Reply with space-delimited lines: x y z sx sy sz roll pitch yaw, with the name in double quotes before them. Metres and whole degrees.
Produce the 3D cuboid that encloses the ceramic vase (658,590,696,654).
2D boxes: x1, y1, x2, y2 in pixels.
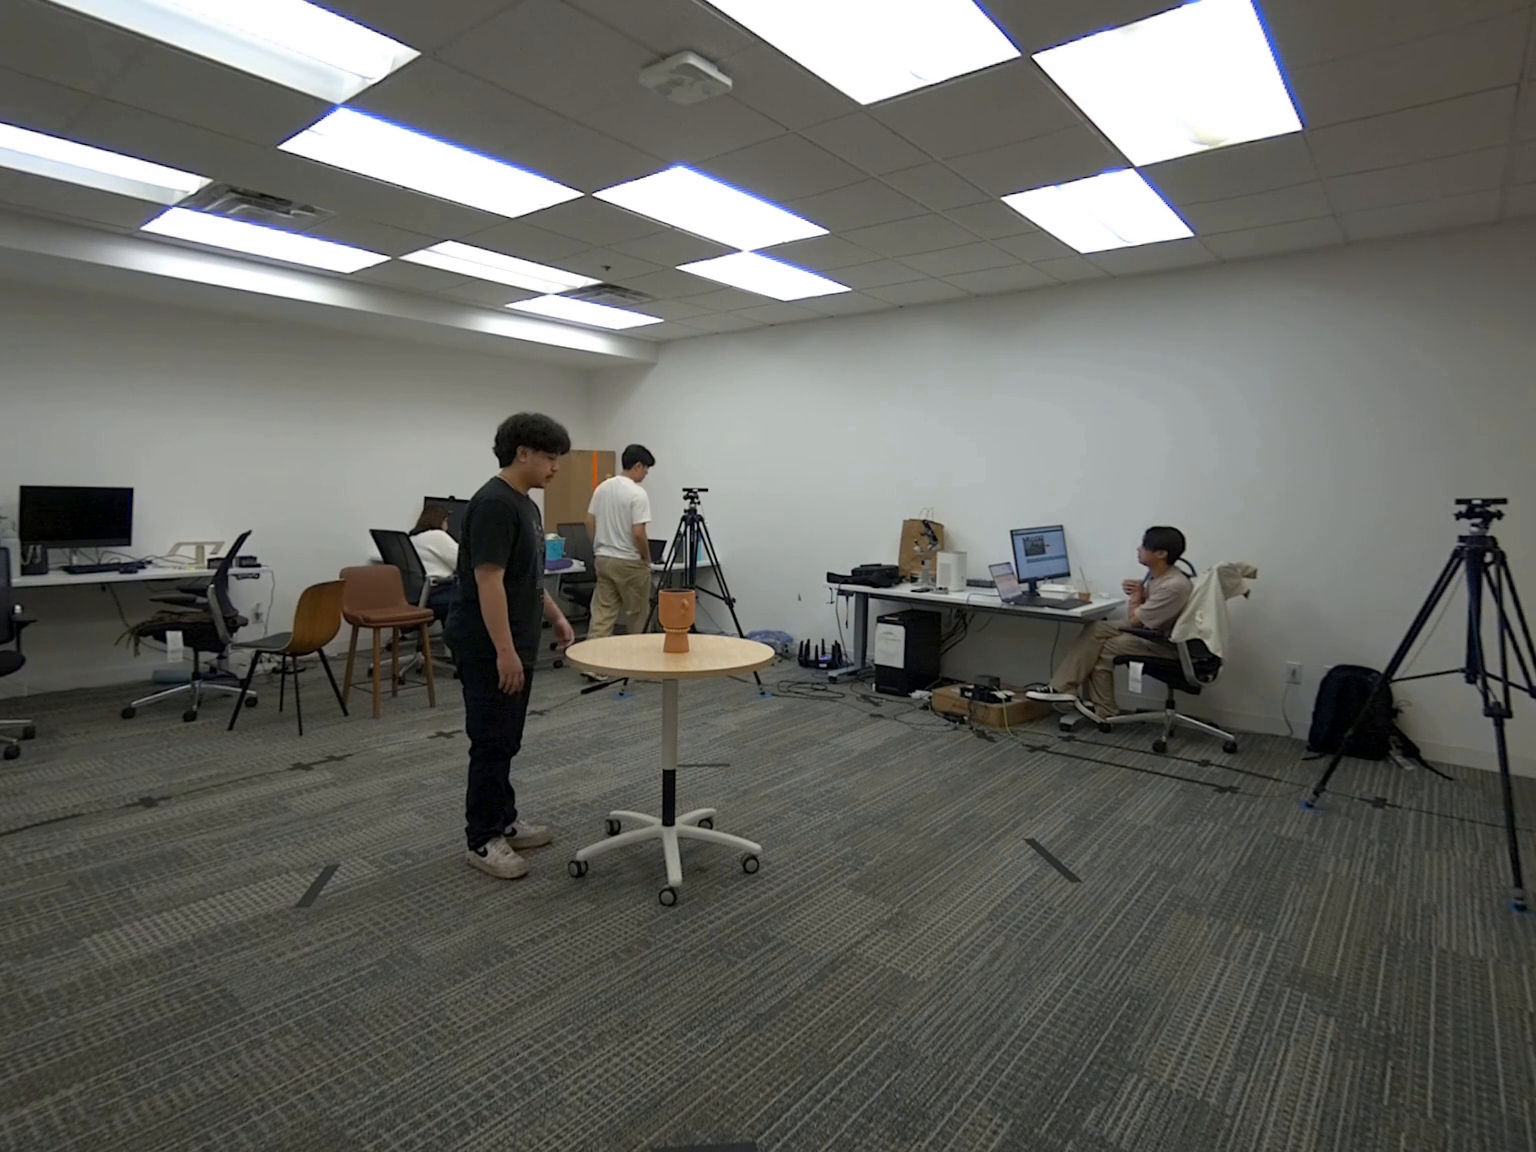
"ceramic vase" -0.349 0.166 3.116 0.136 0.219 0.157 1 3 11
